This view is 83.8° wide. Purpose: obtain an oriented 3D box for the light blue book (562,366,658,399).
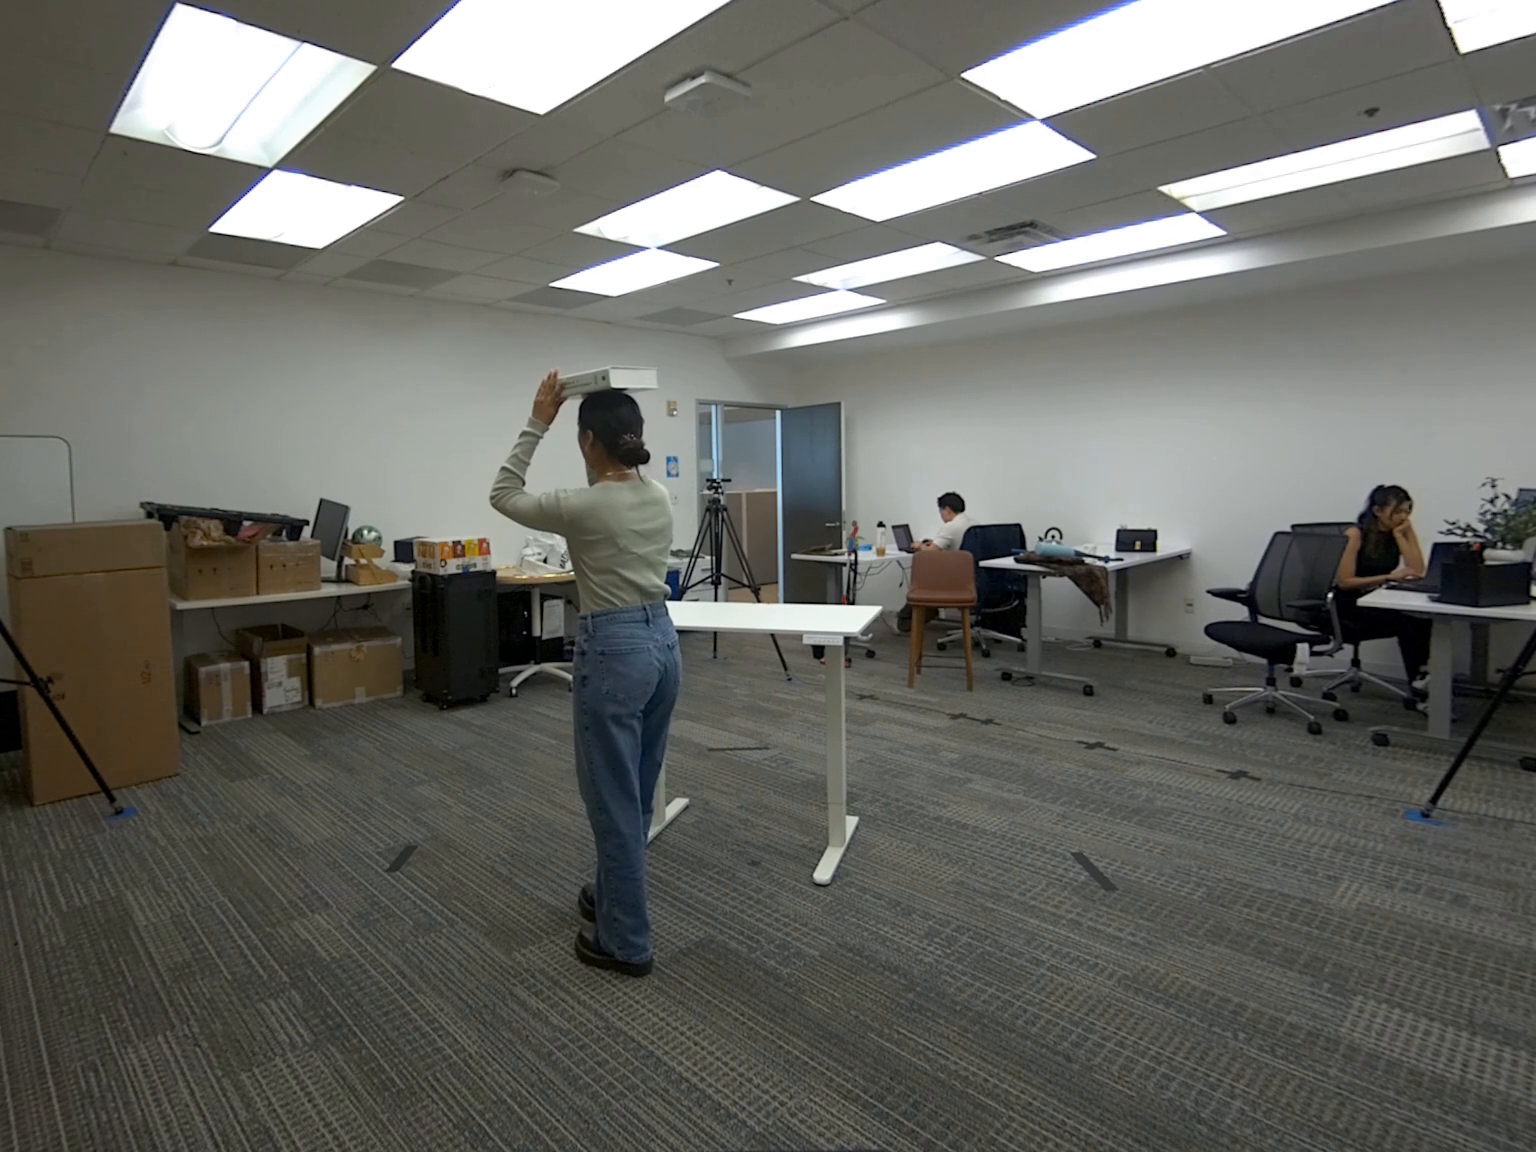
[{"bbox_3d":[-0.465,-0.547,2.426,0.268,0.058,0.187,2,11,39],"label":"light blue book"}]
